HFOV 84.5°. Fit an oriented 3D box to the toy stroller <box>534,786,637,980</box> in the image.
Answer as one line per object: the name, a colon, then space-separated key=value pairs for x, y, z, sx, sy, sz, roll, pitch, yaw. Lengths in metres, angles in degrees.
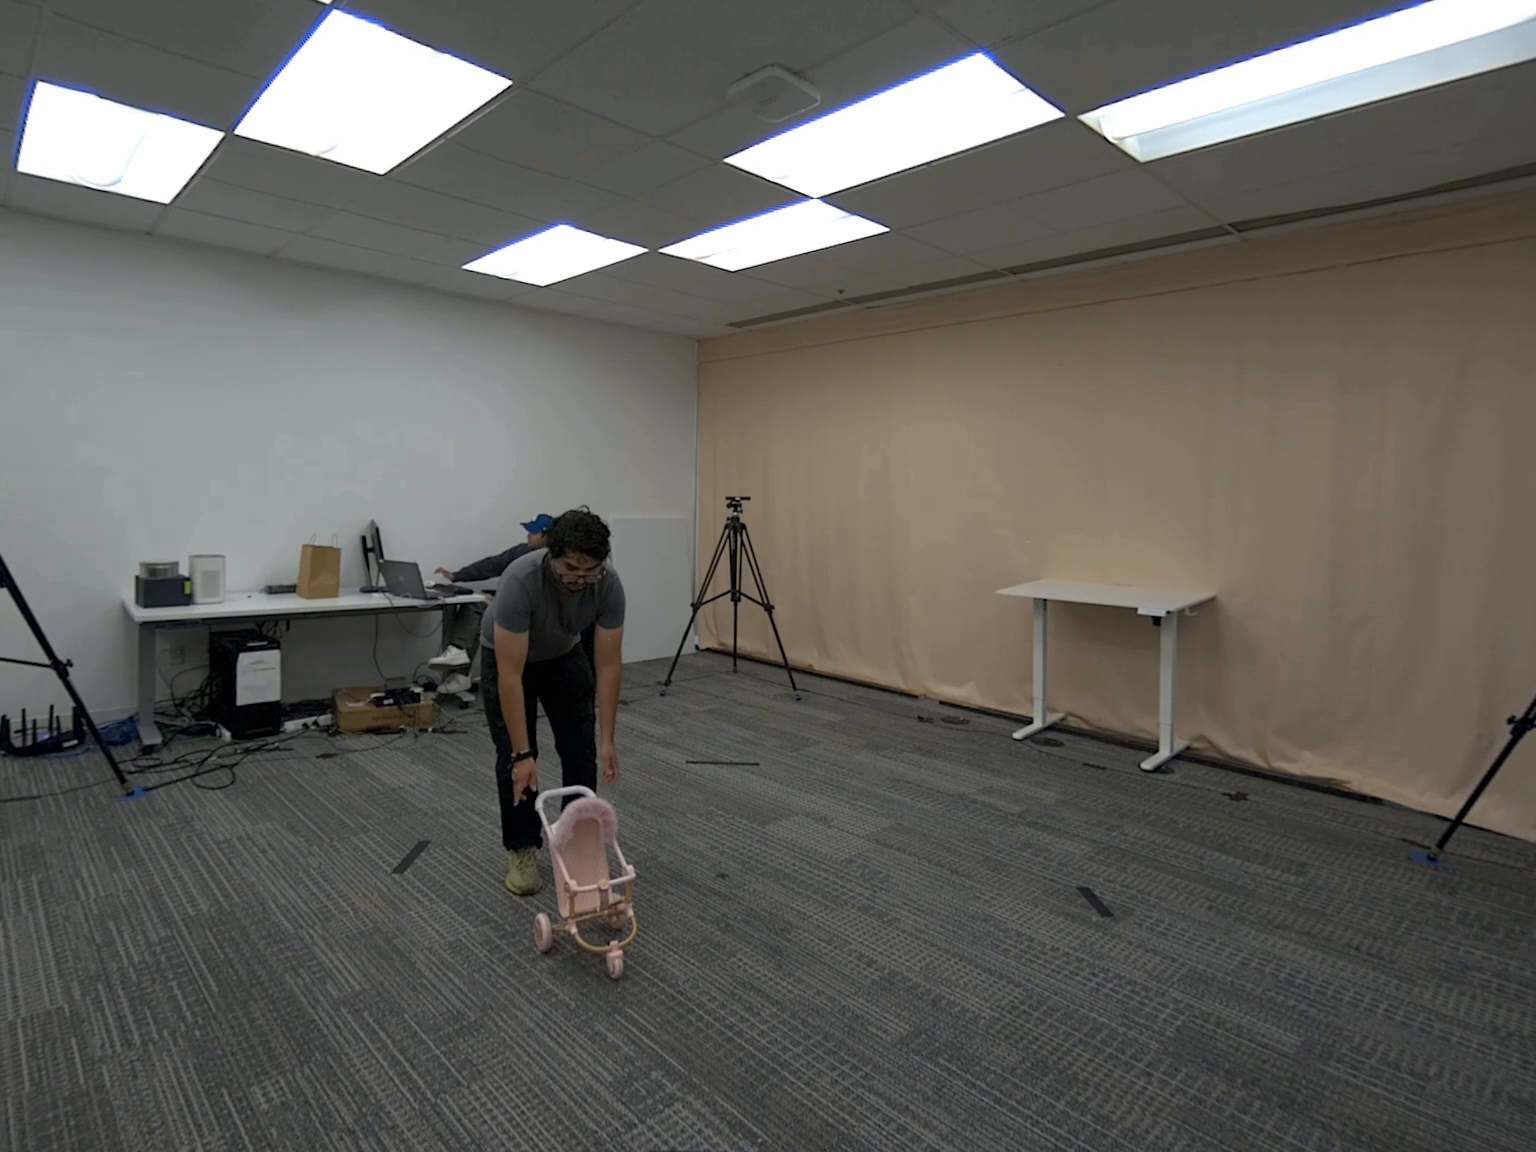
toy stroller: x=-0.557 y=0.922 z=2.577 sx=0.275 sy=0.540 sz=0.345 roll=-1 pitch=-12 yaw=-32
